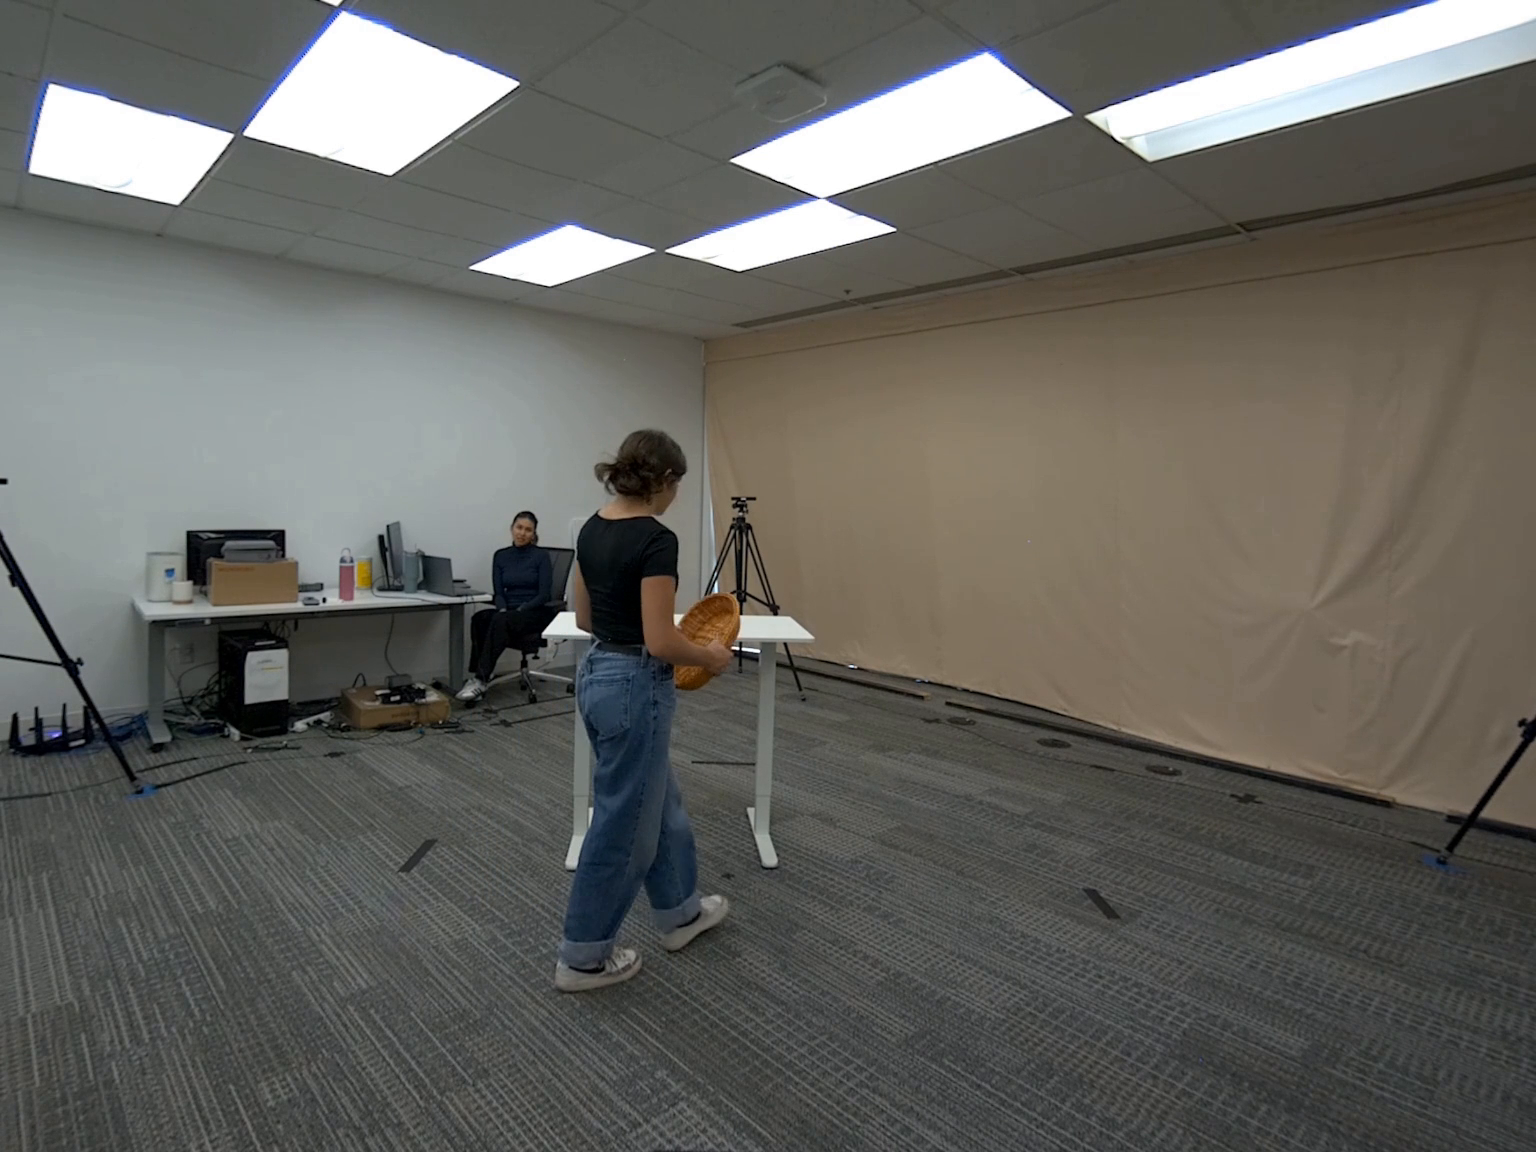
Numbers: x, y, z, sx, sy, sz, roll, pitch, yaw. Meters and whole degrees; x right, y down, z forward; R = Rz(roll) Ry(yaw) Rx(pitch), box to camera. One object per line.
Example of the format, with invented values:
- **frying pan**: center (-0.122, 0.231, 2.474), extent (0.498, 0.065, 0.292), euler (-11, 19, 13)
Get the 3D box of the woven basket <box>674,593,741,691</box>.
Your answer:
- **woven basket**: center (-0.198, 0.213, 2.538), extent (0.258, 0.352, 0.071), euler (3, -34, 45)
